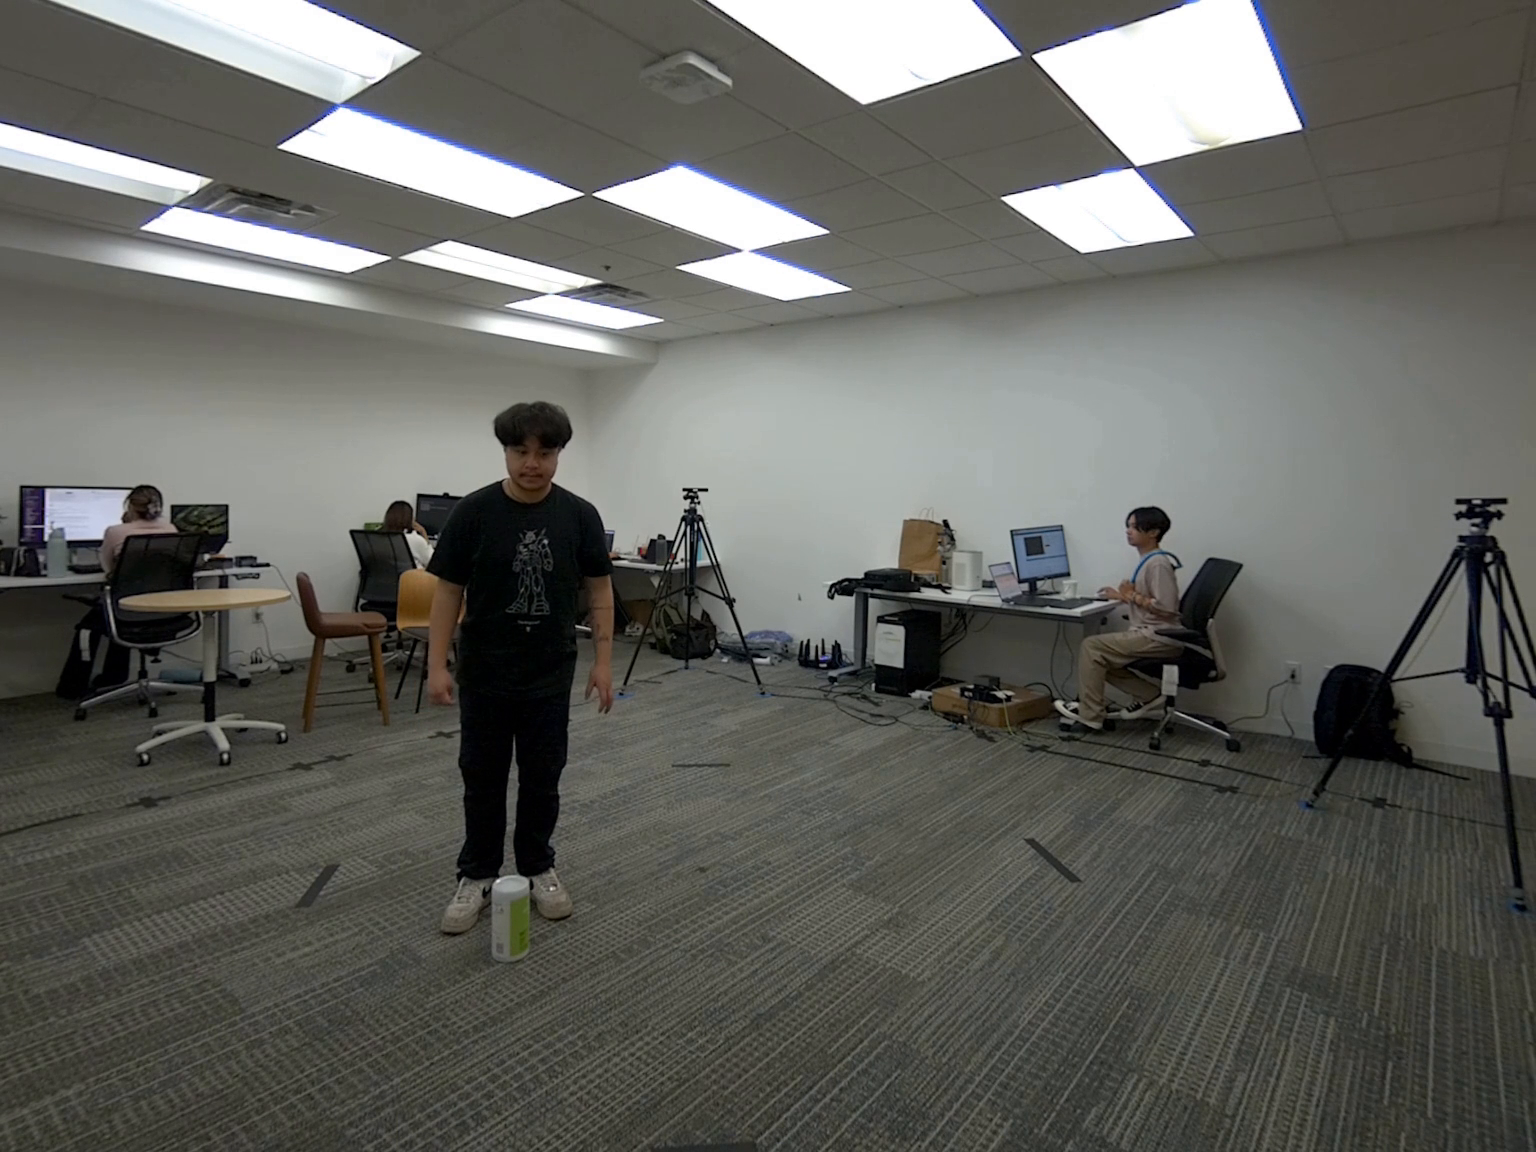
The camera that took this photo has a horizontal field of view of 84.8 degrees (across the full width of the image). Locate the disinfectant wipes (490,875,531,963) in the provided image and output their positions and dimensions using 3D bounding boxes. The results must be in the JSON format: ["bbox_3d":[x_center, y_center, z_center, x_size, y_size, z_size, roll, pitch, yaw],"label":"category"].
[{"bbox_3d":[-0.776,1.021,2.522,0.118,0.217,0.118,-1,3,-2],"label":"disinfectant wipes"}]
